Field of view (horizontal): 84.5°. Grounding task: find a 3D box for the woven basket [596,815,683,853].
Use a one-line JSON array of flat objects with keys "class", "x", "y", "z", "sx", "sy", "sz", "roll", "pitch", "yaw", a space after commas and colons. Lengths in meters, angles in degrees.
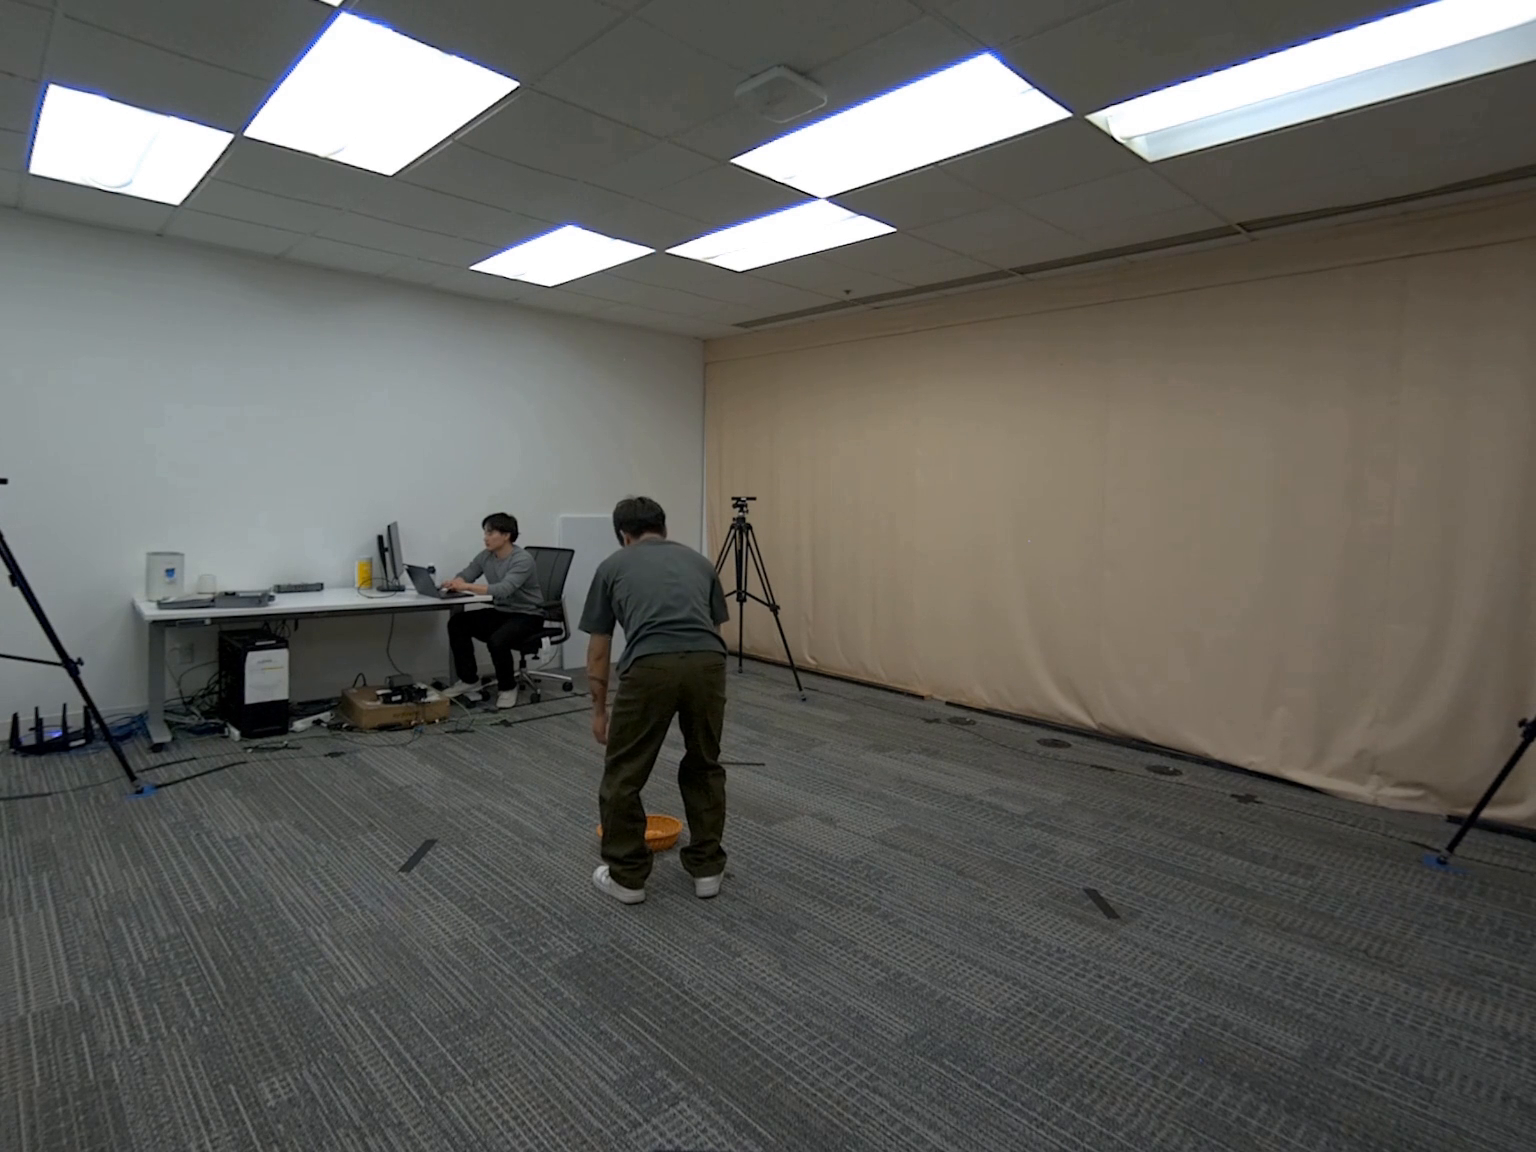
[{"class": "woven basket", "x": -0.520, "y": 1.037, "z": 3.372, "sx": 0.345, "sy": 0.073, "sz": 0.257, "roll": 0, "pitch": 5, "yaw": -21}]
